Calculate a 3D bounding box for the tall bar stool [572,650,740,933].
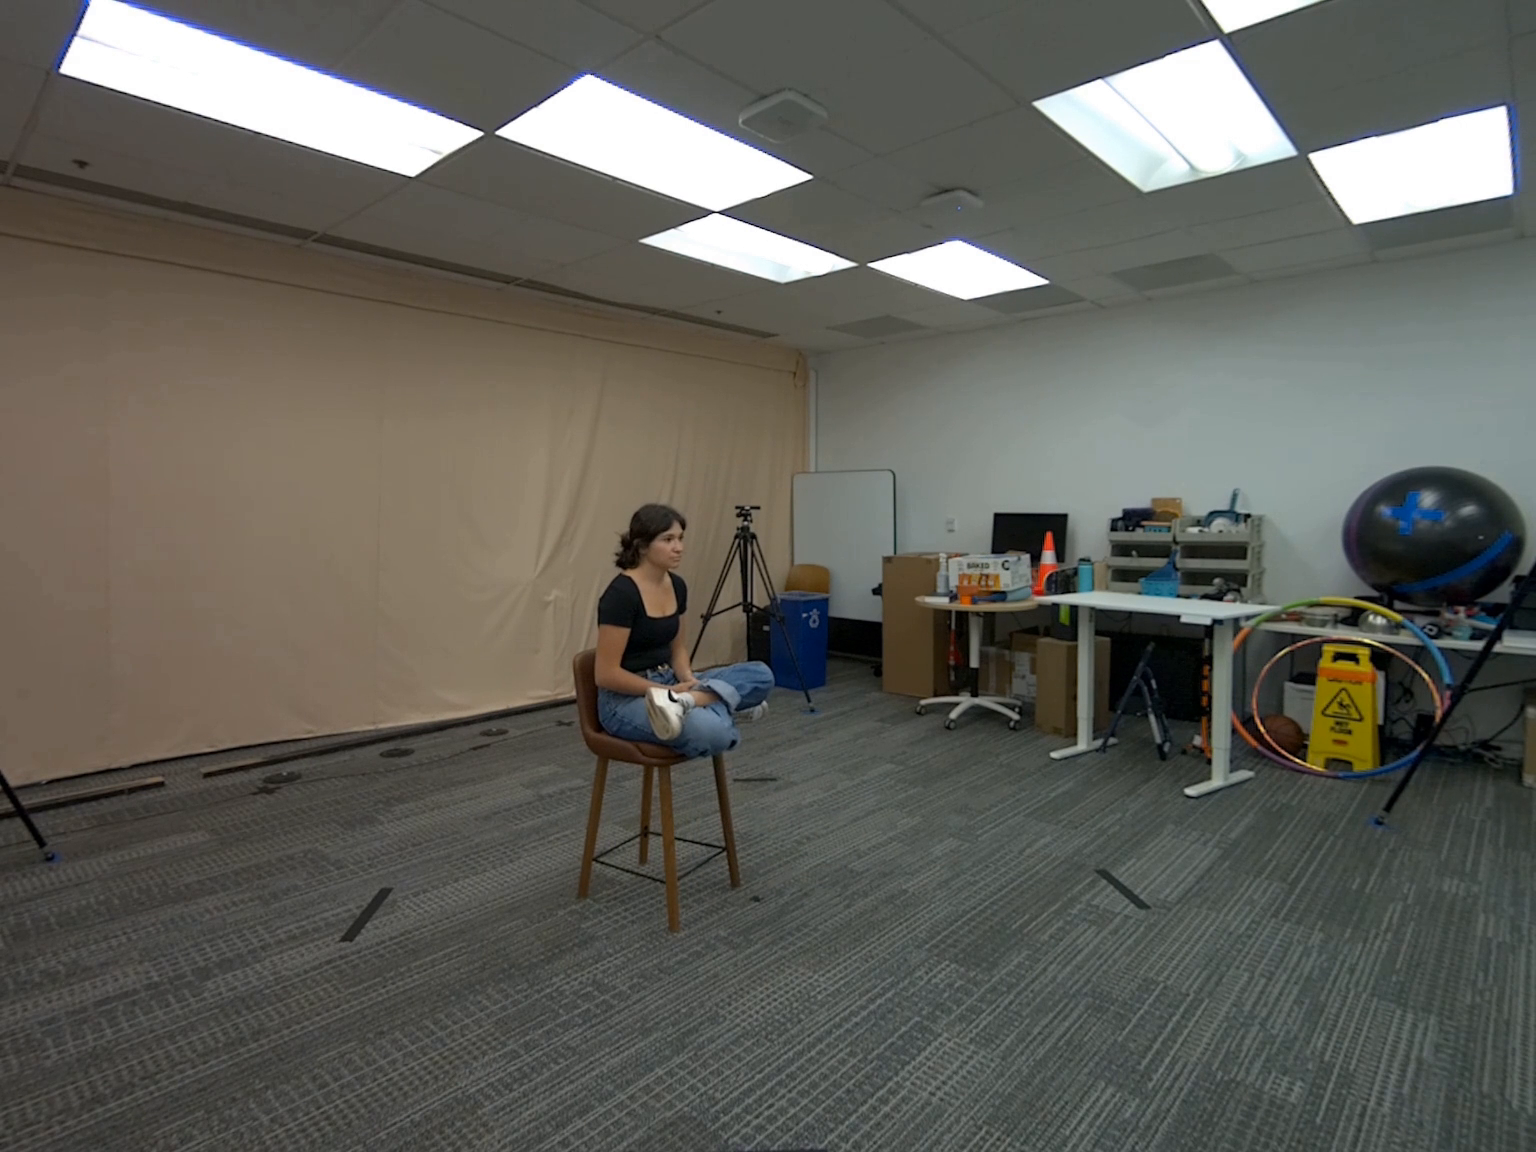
[{"bbox_3d":[-0.406,0.710,3.025,0.481,0.889,0.444,-1,2,33],"label":"tall bar stool"}]
